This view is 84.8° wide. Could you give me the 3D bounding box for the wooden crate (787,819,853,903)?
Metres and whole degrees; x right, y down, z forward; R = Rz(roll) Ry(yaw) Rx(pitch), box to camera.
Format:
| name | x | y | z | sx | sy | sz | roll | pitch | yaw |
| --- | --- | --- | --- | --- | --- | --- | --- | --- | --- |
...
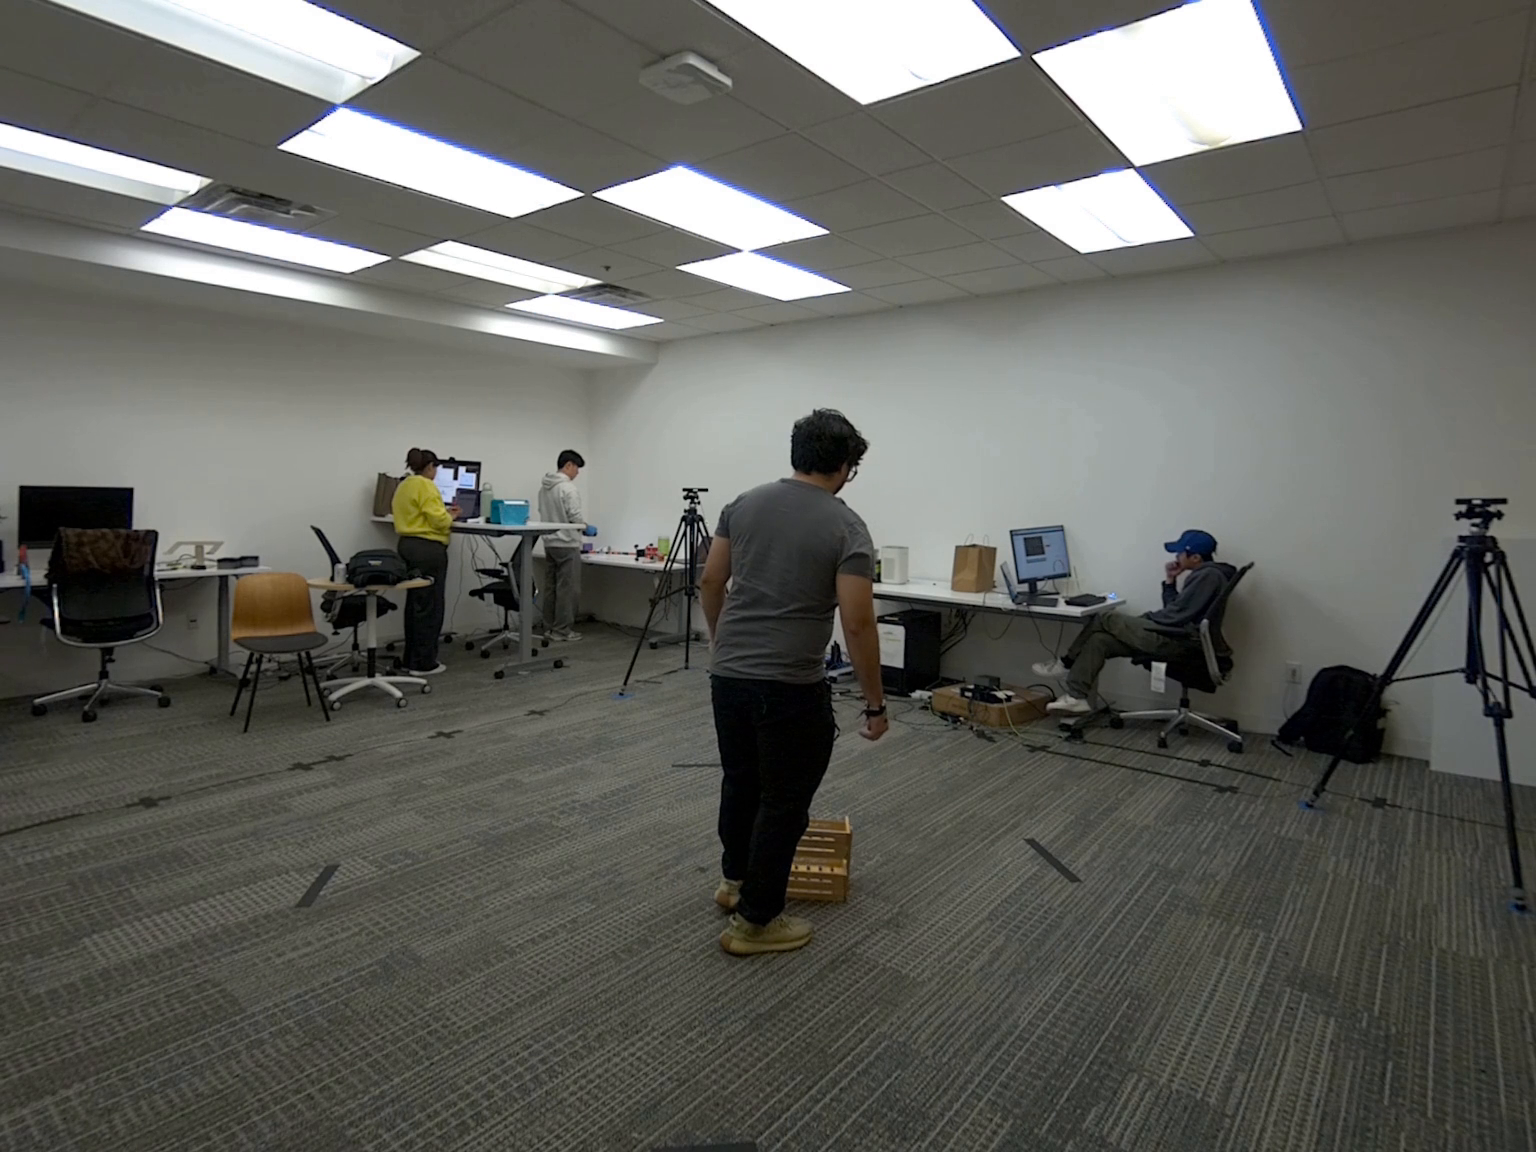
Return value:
| name | x | y | z | sx | sy | sz | roll | pitch | yaw |
| --- | --- | --- | --- | --- | --- | --- | --- | --- | --- |
| wooden crate | 0.124 | 0.958 | 3.000 | 0.326 | 0.273 | 0.301 | 1 | 3 | 4 |
